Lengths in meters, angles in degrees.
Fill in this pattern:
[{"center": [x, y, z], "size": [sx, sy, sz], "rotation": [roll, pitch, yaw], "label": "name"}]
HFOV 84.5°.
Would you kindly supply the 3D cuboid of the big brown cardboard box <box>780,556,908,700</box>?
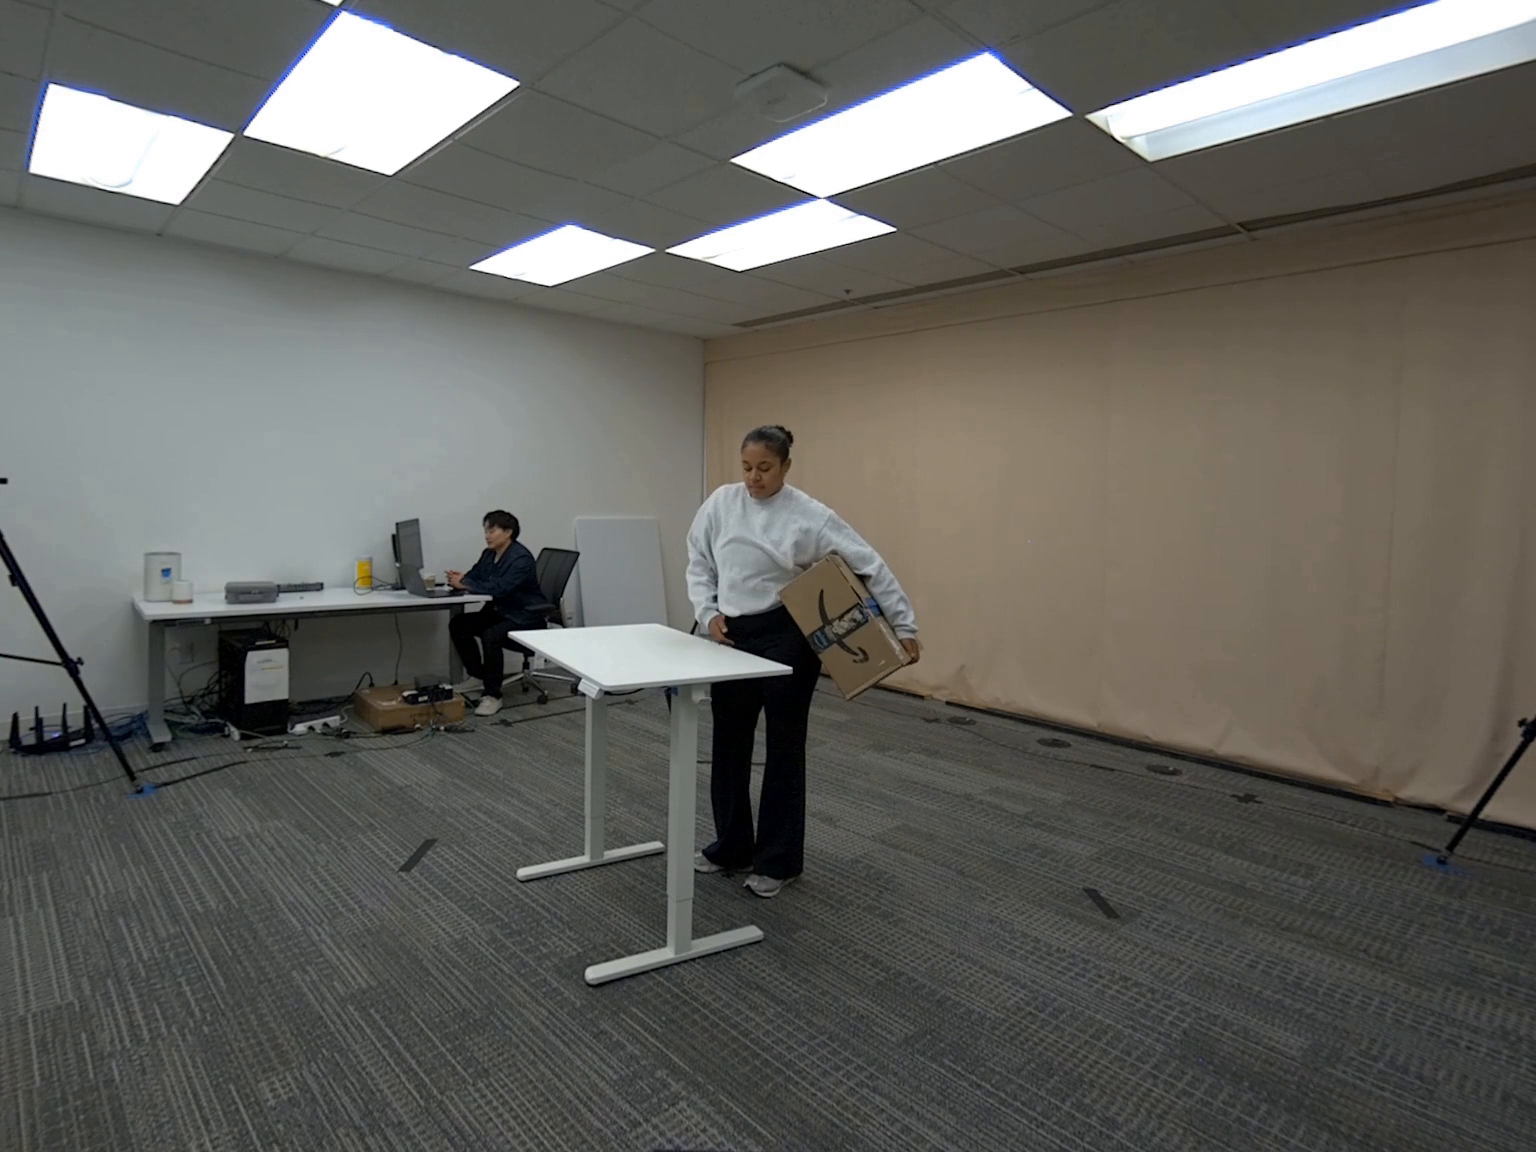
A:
[{"center": [0.299, 0.164, 2.923], "size": [0.234, 0.423, 0.580], "rotation": [-36, -11, 15], "label": "big brown cardboard box"}]
